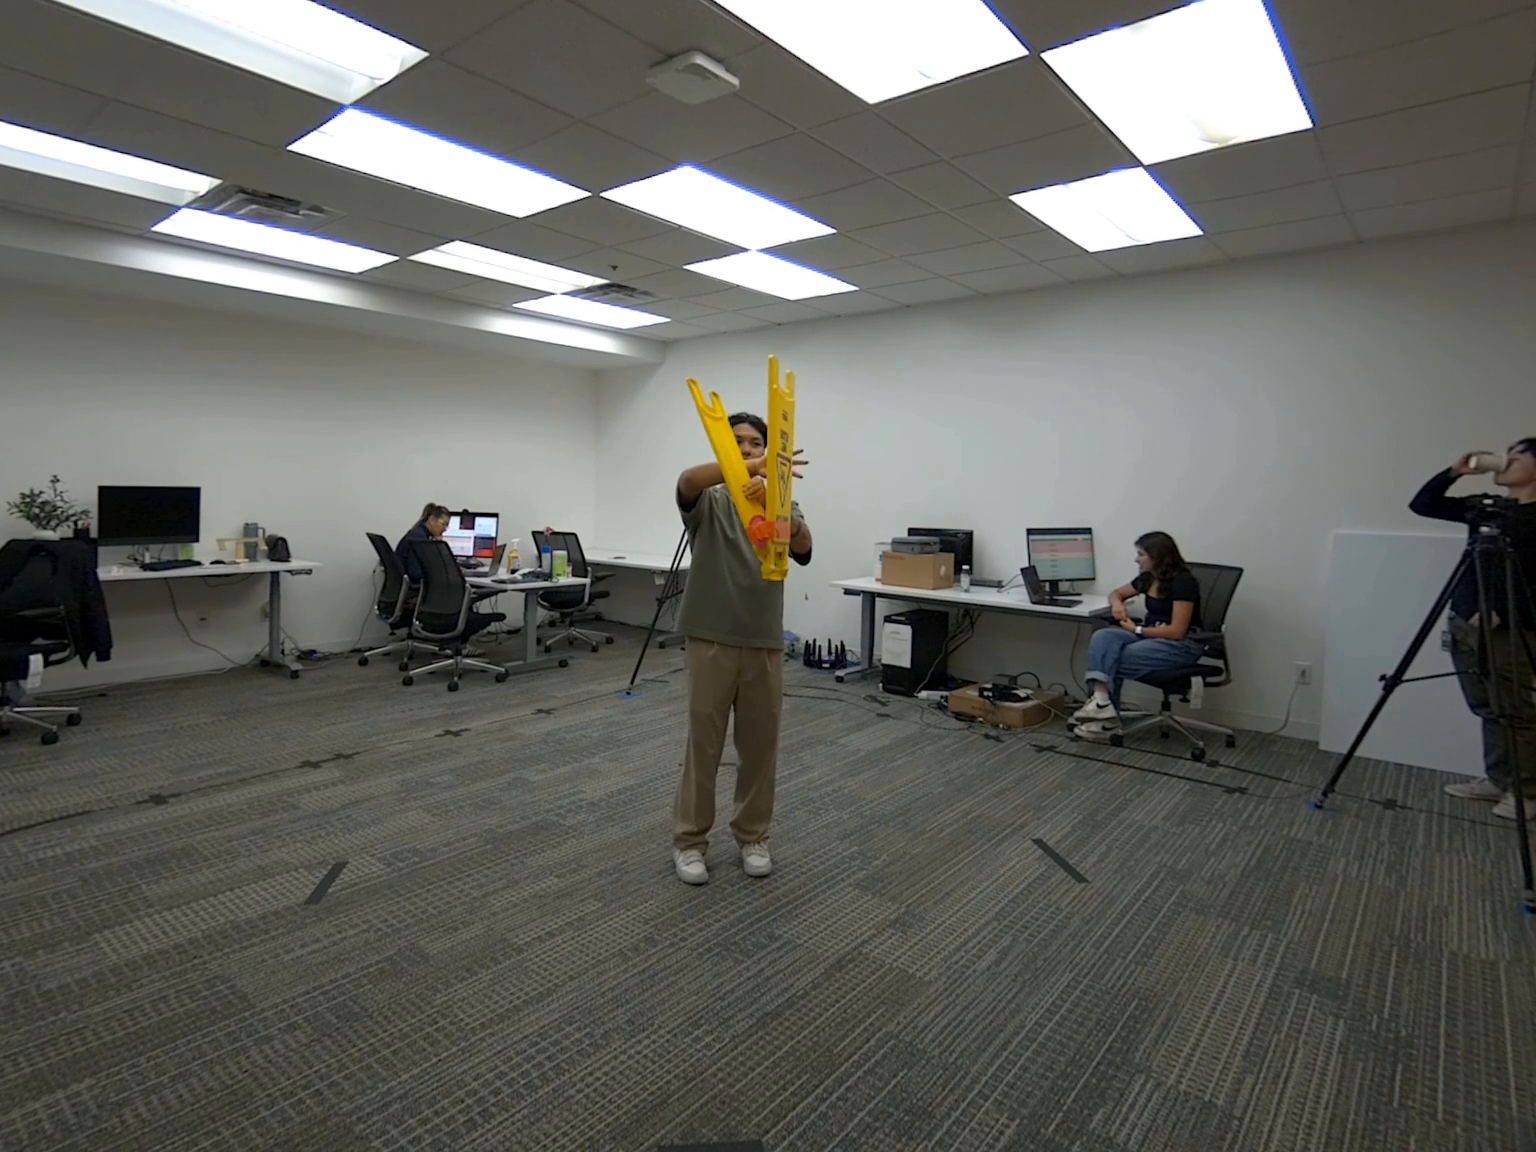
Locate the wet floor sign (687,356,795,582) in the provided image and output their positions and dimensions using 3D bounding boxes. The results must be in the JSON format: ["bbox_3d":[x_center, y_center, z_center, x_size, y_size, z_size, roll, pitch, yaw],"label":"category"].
[{"bbox_3d":[-0.039,-0.308,2.630,0.294,0.651,0.276,-11,-6,18],"label":"wet floor sign"}]
